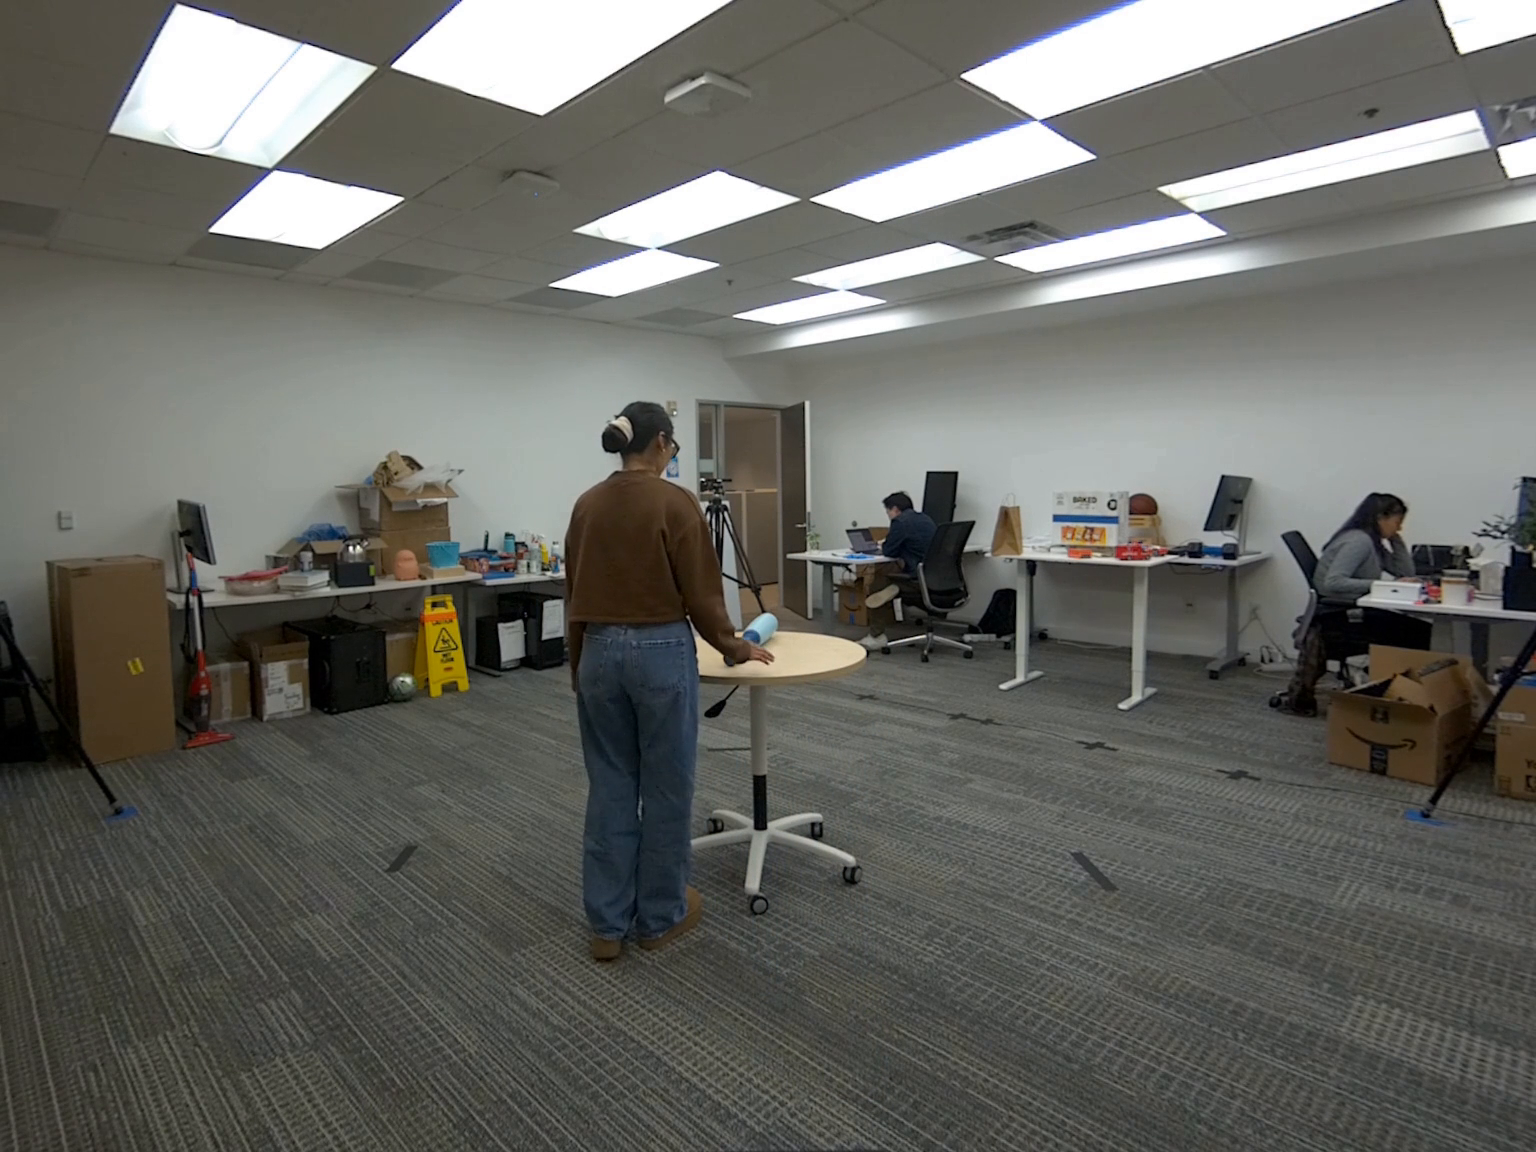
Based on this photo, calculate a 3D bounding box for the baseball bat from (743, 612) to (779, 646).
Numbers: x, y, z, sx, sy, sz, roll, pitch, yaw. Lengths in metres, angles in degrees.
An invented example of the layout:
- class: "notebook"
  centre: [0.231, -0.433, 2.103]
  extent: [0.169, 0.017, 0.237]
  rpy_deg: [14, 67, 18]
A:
- class: "baseball bat"
  centre: [-0.061, 0.233, 3.054]
  extent: [0.090, 0.088, 0.540]
  rpy_deg: [0, 11, 13]
